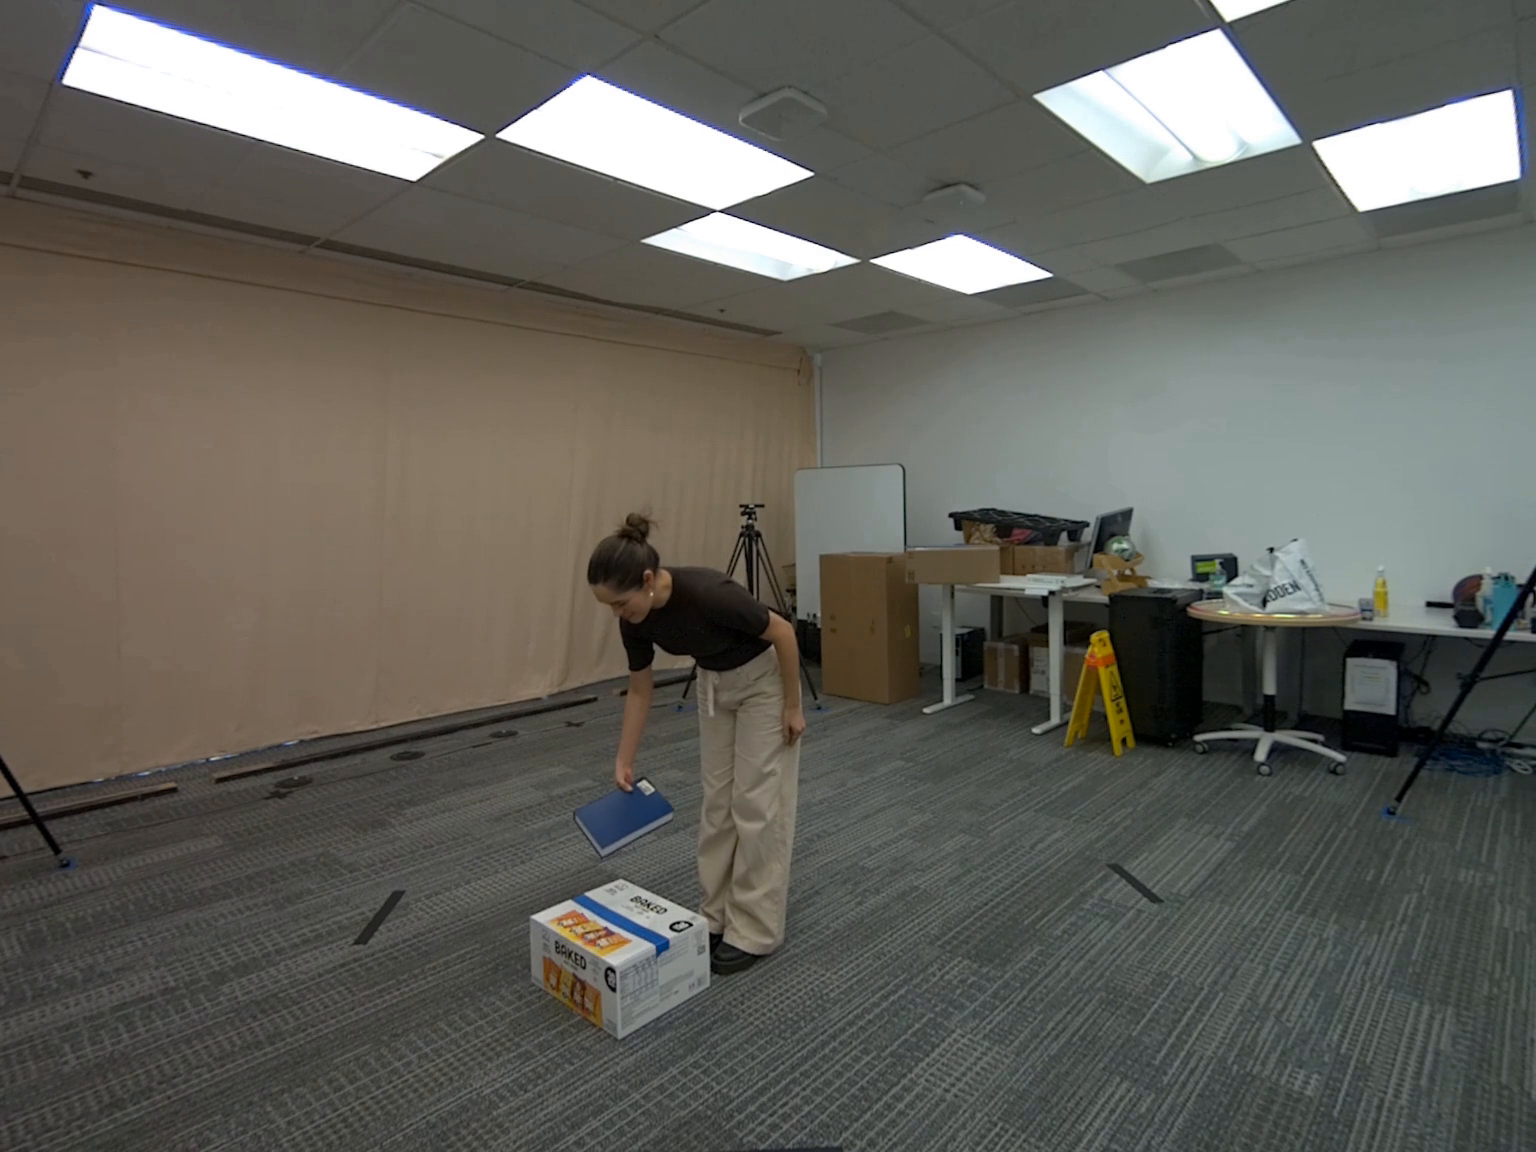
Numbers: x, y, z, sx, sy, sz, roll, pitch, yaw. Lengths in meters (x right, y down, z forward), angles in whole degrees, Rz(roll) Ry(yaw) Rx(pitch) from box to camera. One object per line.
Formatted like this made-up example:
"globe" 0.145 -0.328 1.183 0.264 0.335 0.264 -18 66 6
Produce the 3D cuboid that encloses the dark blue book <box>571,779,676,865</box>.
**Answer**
"dark blue book" -0.413 0.695 2.418 0.239 0.044 0.169 -18 38 -32
